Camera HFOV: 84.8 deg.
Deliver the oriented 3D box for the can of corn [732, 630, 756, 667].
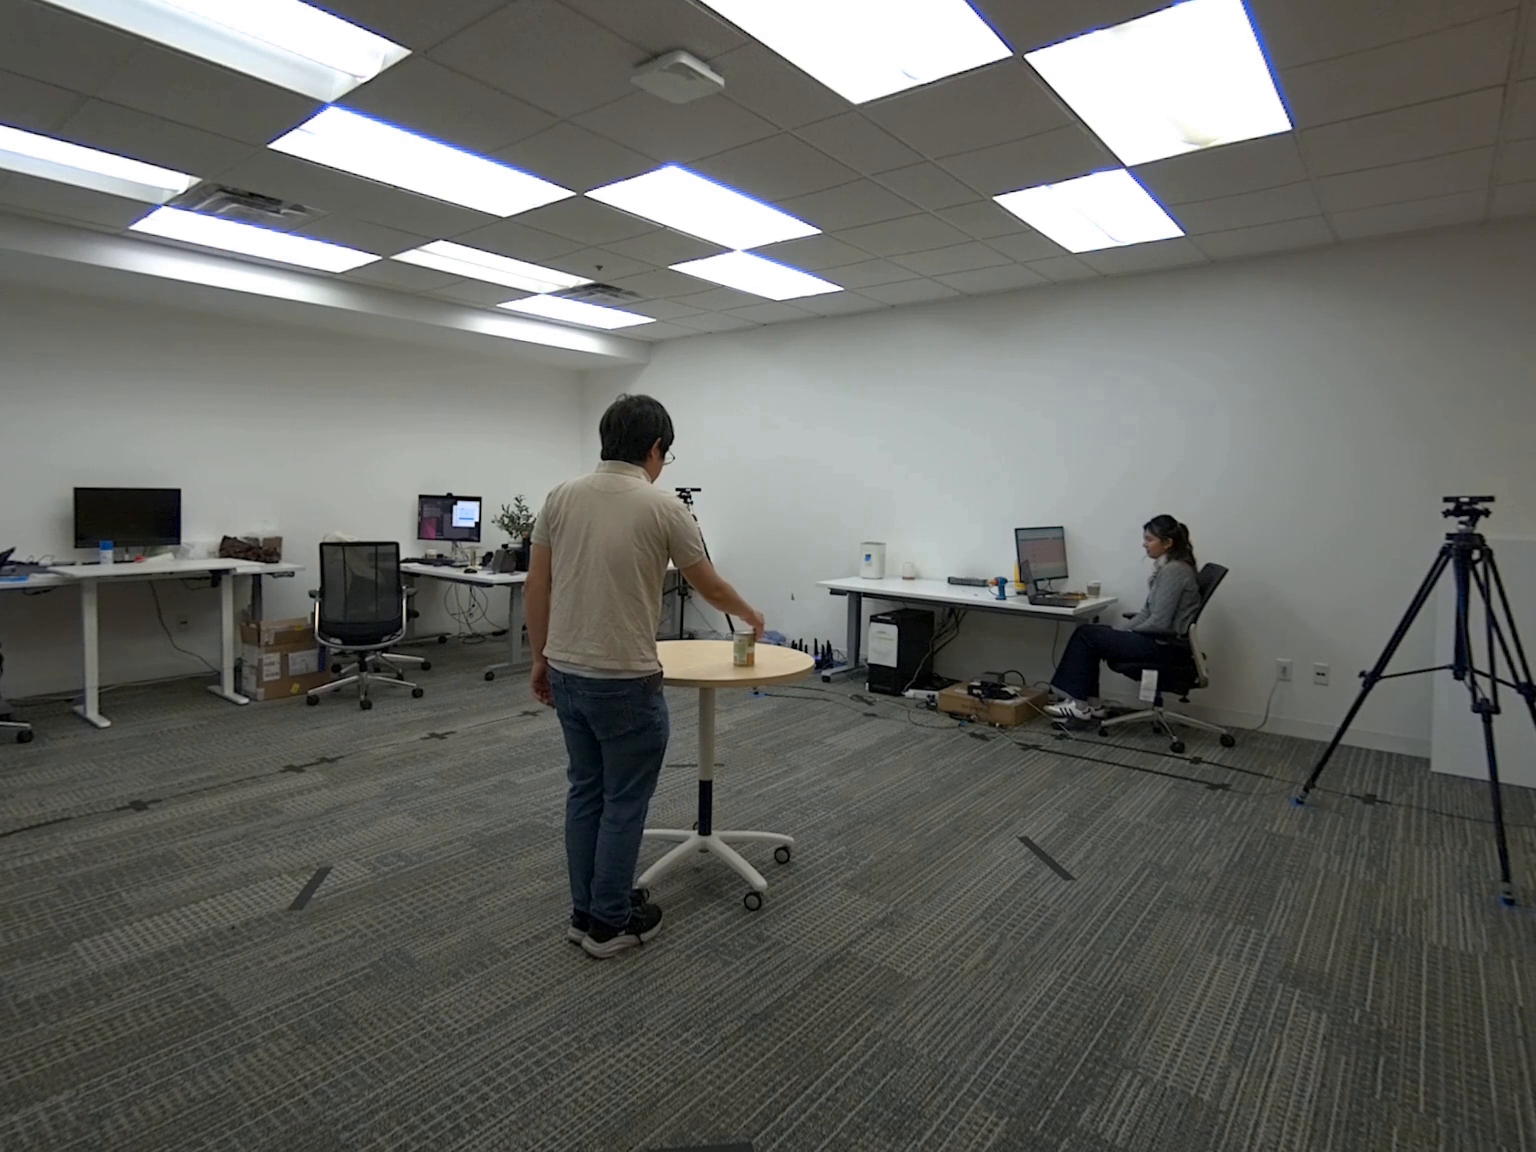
[{"bbox_3d":[-0.093,0.246,2.928,0.074,0.110,0.075,0,6,-2],"label":"can of corn"}]
